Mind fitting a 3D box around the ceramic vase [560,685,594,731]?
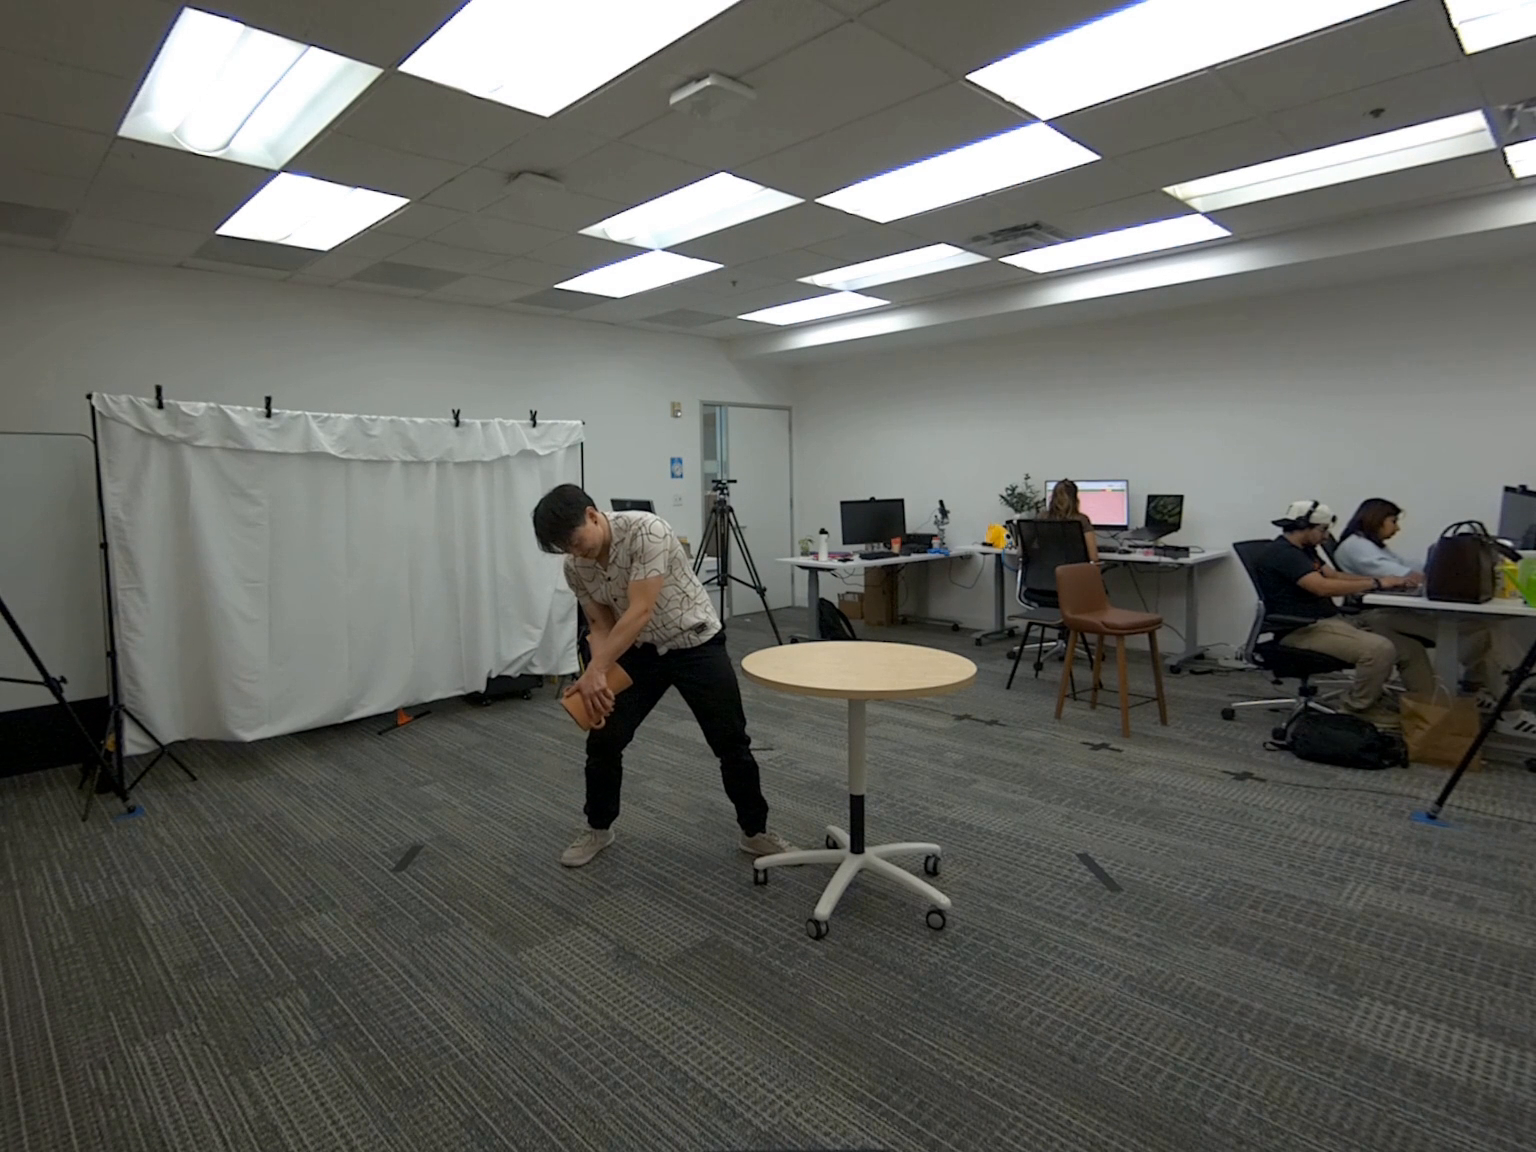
[{"bbox_3d":[-0.571,0.393,2.820,0.219,0.156,0.138,-43,17,-19],"label":"ceramic vase"}]
